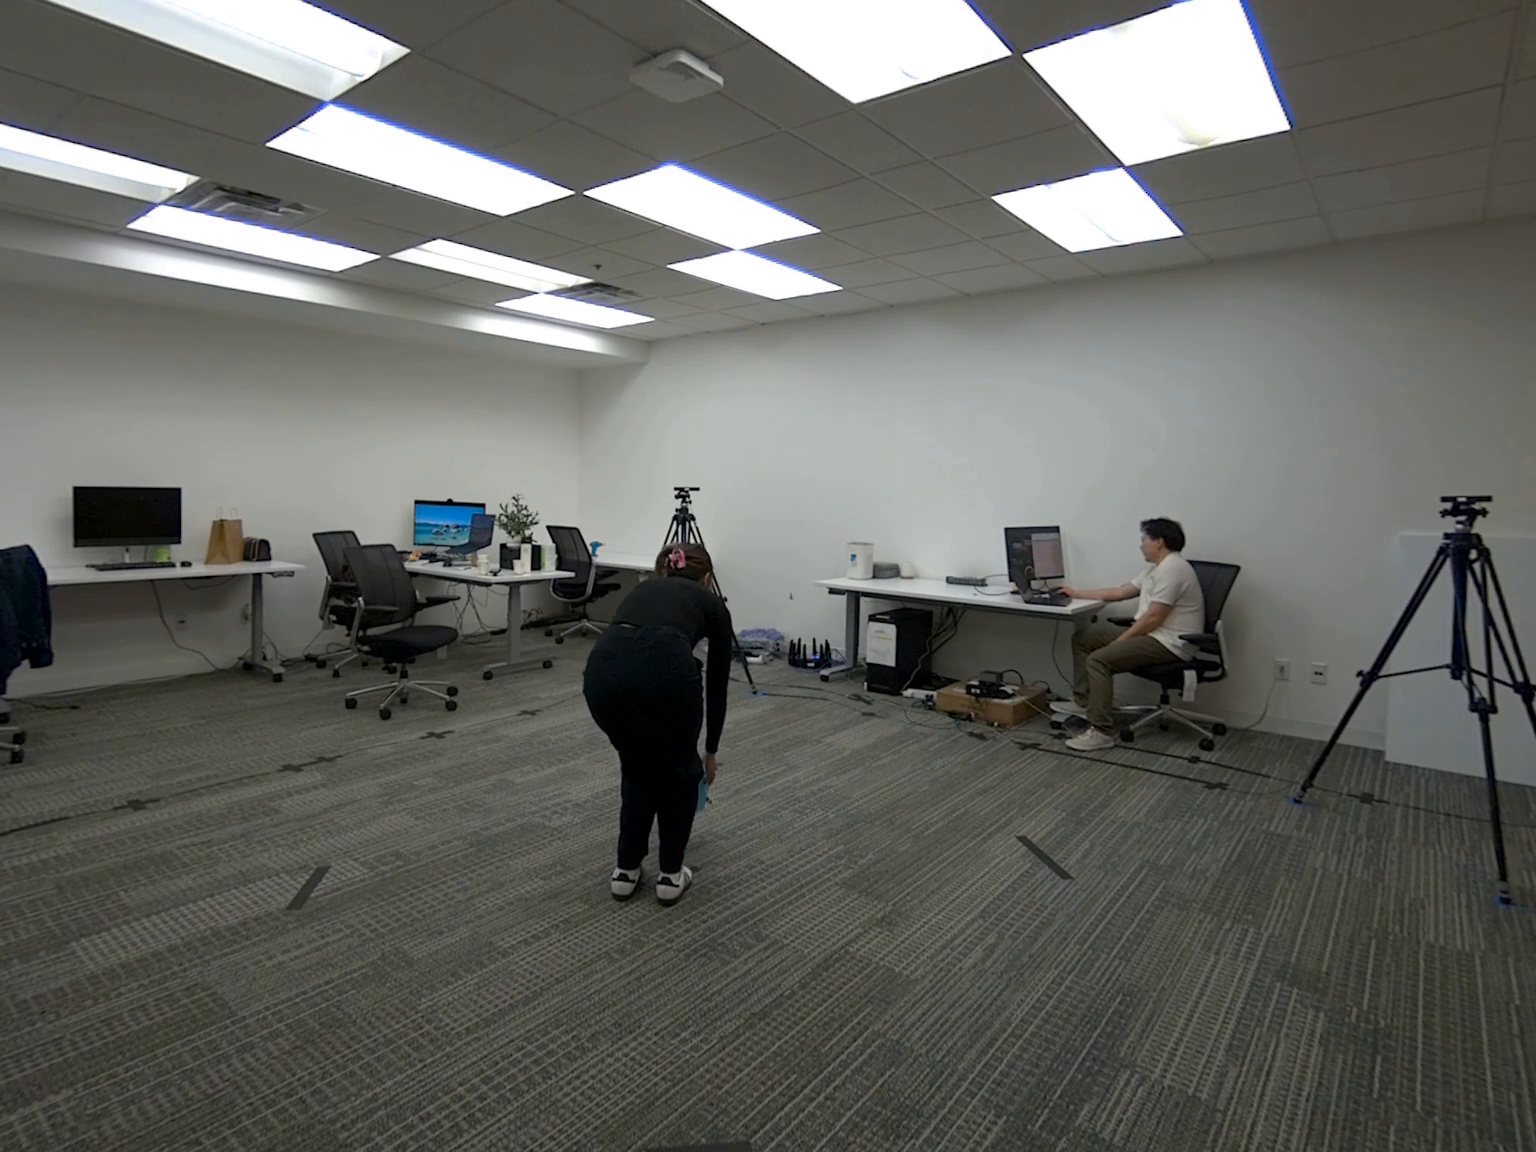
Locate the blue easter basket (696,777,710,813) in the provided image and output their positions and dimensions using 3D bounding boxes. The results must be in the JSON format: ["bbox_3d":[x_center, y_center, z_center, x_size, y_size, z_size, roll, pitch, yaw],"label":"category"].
[{"bbox_3d":[-0.337,0.812,3.326,0.243,0.156,0.243,2,-3,-2],"label":"blue easter basket"}]
